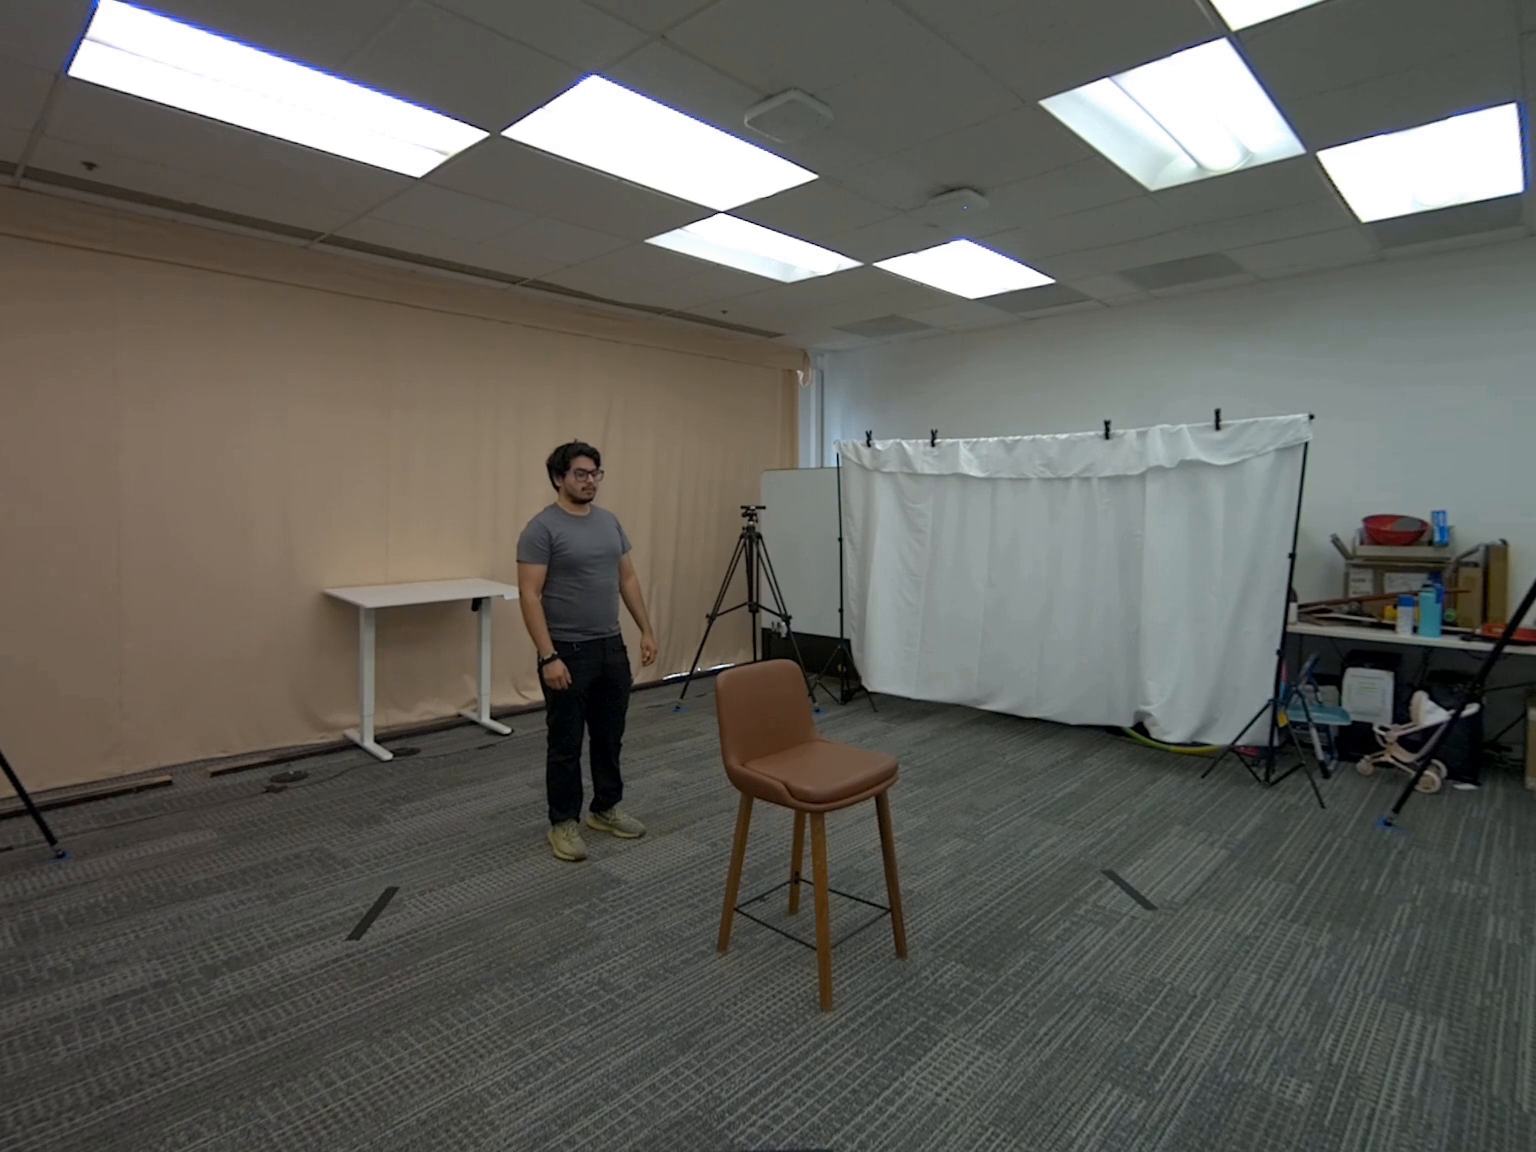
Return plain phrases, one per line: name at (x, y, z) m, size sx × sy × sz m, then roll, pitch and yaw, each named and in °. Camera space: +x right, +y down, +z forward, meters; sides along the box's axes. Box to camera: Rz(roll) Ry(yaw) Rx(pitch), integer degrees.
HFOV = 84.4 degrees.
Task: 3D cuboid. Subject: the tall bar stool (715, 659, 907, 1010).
tall bar stool at (0.129, 0.743, 2.593) m, size 0.483 × 0.888 × 0.442 m, roll 1°, pitch 4°, yaw 44°
